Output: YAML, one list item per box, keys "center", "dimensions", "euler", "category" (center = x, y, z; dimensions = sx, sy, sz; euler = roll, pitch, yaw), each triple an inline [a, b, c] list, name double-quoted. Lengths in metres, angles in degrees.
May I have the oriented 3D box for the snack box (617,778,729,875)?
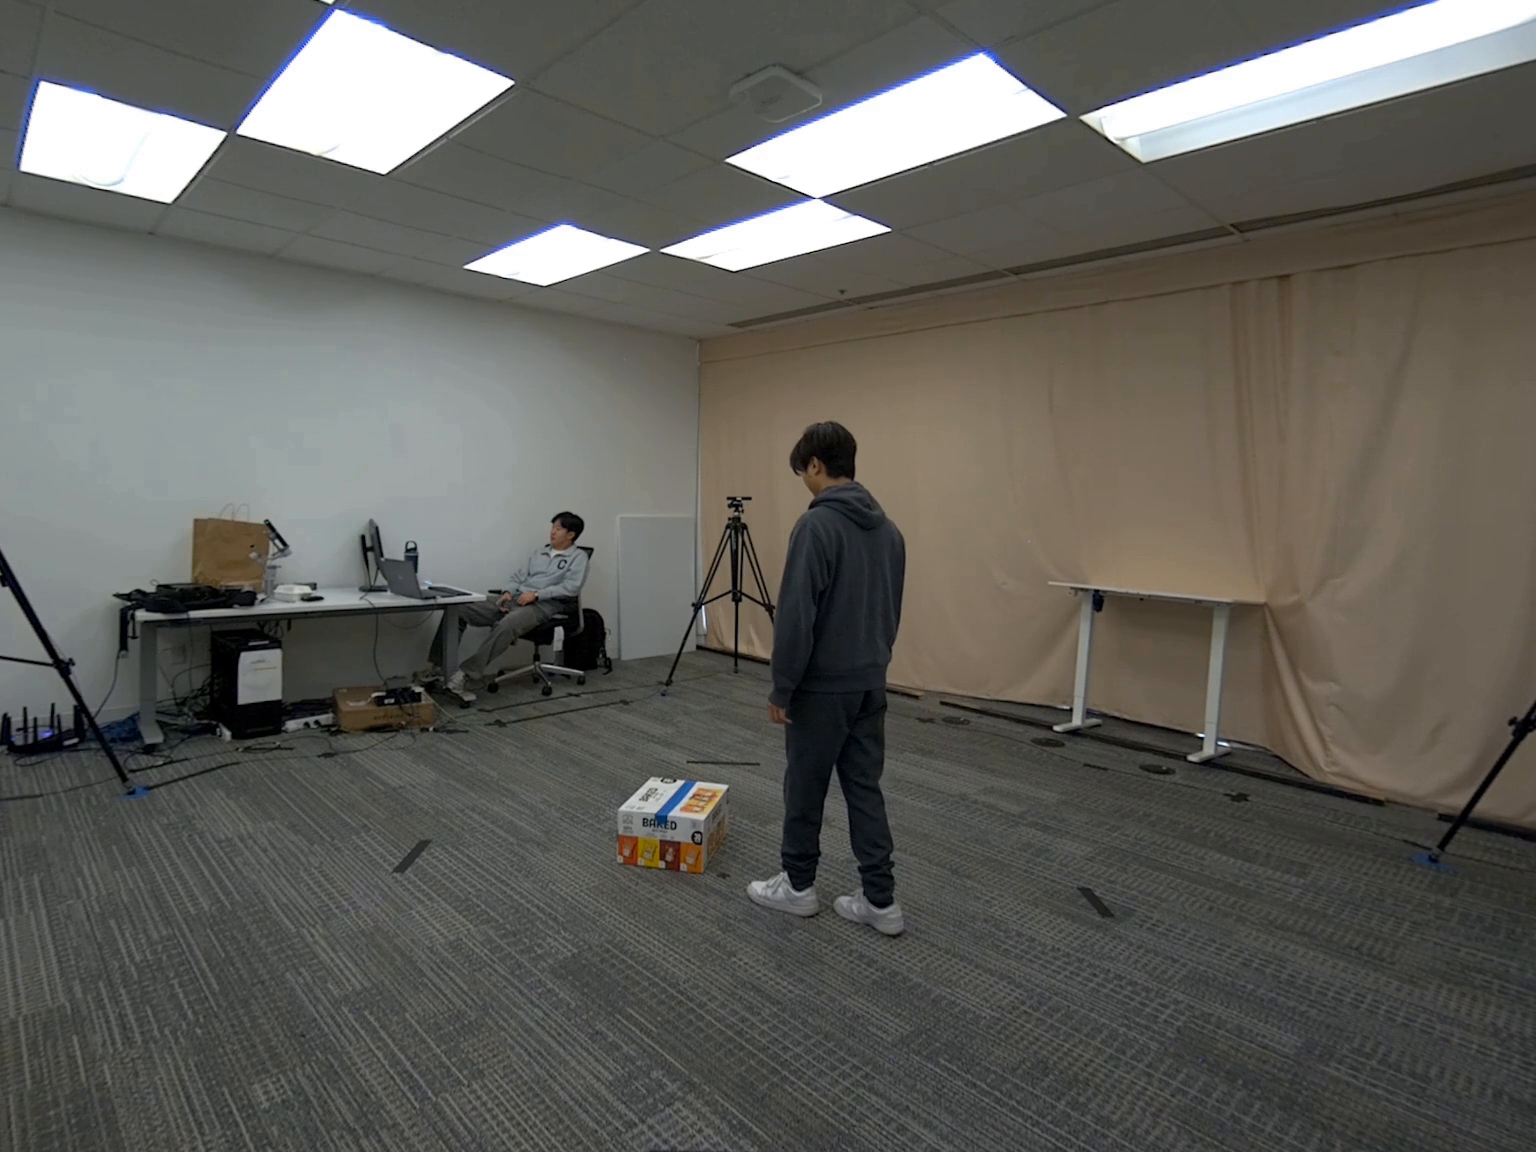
- center: [-0.375, 0.978, 3.337]
  dimensions: [0.344, 0.205, 0.402]
  euler: [3, 5, 12]
  category: "snack box"
